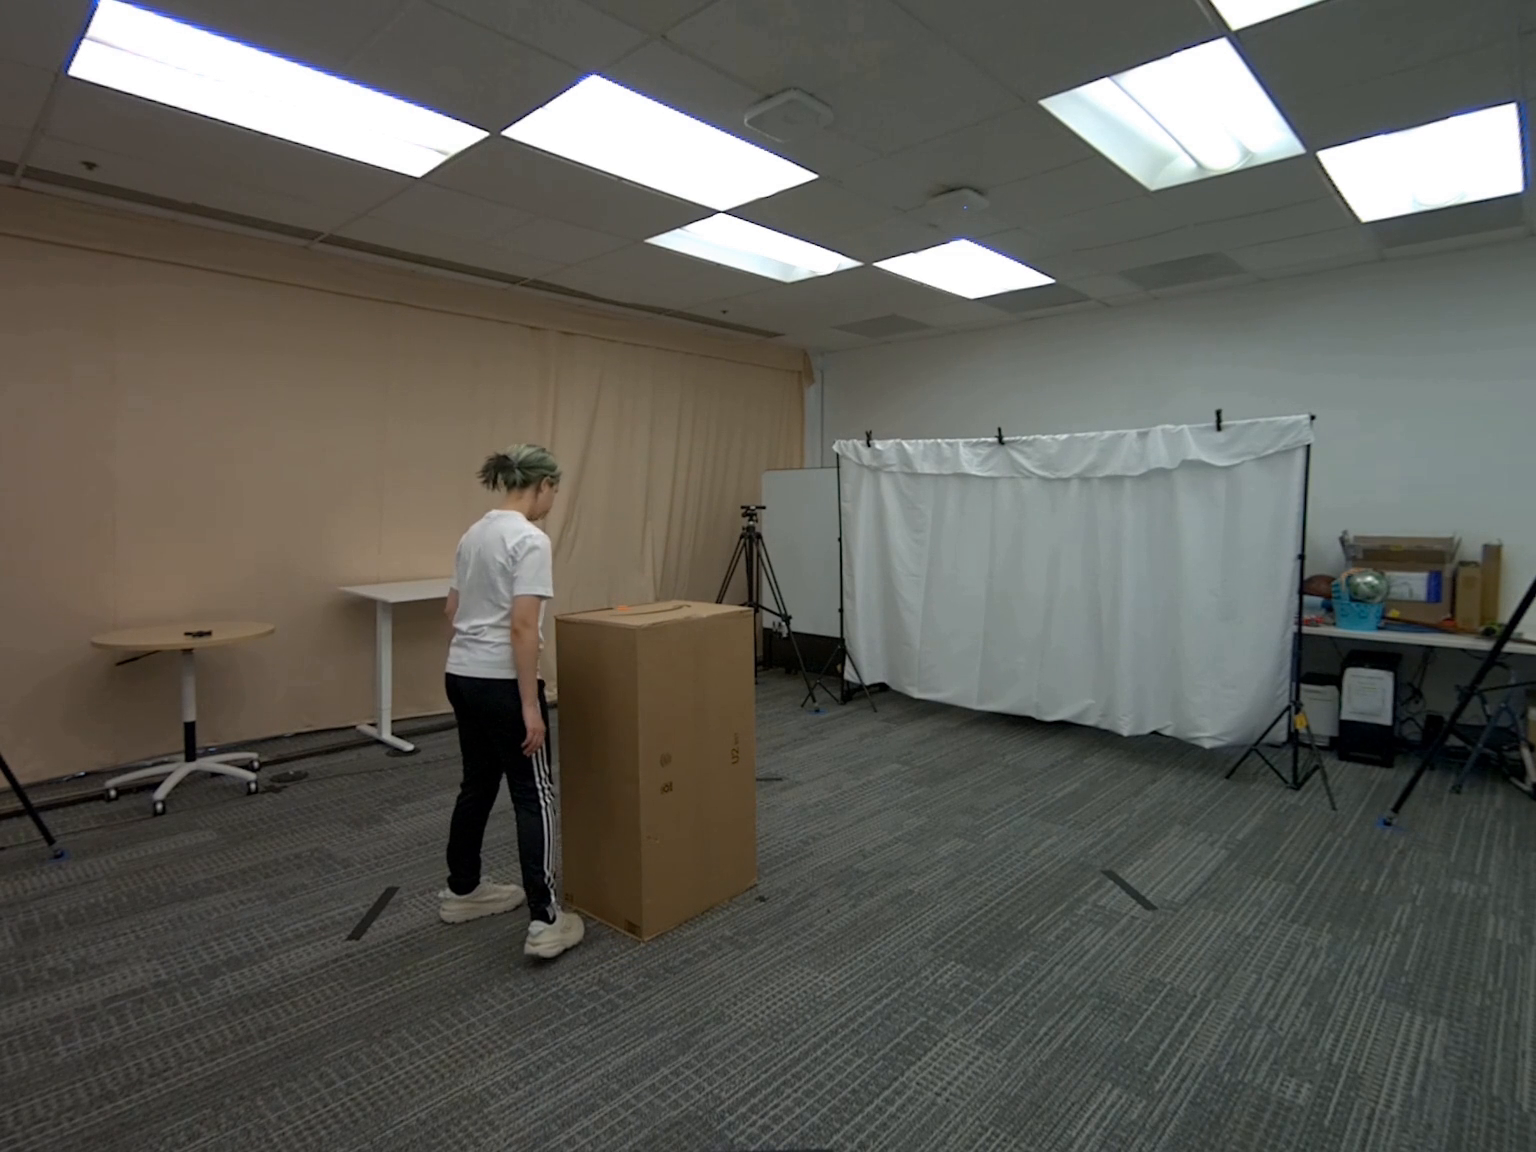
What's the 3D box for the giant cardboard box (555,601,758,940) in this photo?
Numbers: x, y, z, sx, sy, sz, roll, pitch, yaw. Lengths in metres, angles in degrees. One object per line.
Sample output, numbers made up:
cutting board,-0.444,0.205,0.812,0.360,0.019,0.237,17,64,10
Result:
giant cardboard box,-0.386,0.637,3.010,0.461,1.024,0.566,3,5,40
